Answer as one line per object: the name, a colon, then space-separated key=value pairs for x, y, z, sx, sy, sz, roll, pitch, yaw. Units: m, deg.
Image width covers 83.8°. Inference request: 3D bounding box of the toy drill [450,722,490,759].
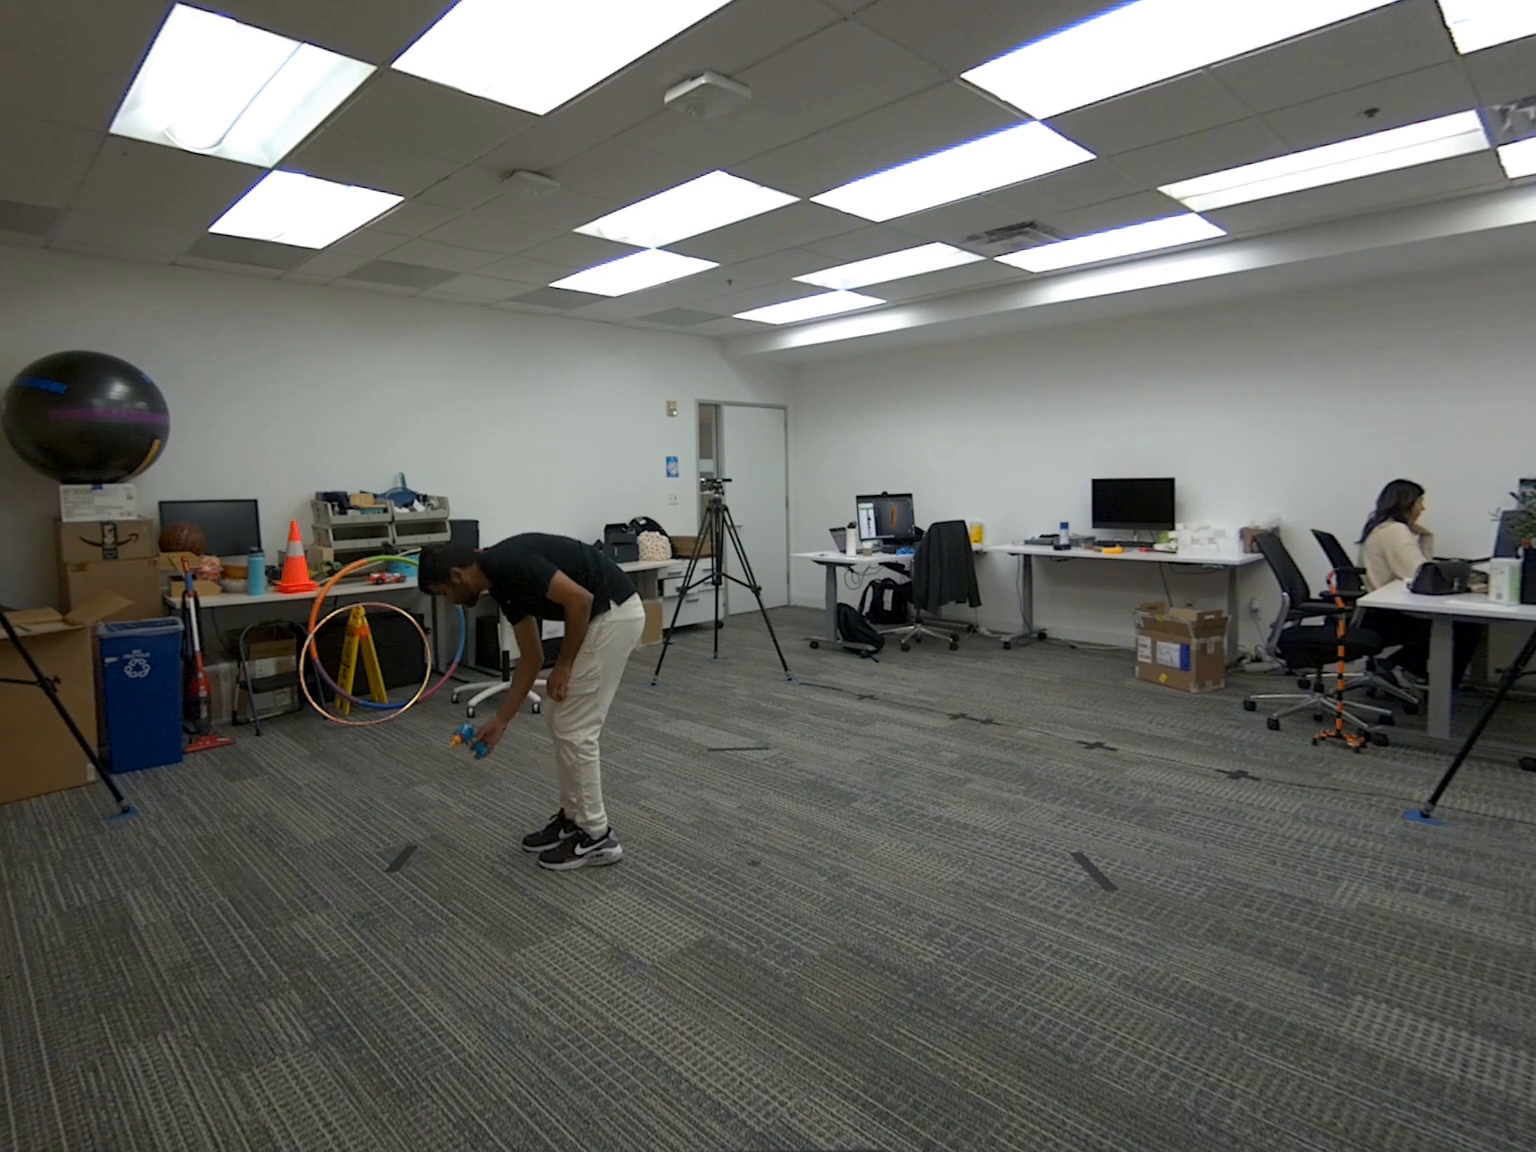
toy drill: x=-1.141 y=0.654 z=3.236 sx=0.061 sy=0.143 sz=0.172 roll=-35 pitch=18 yaw=34
